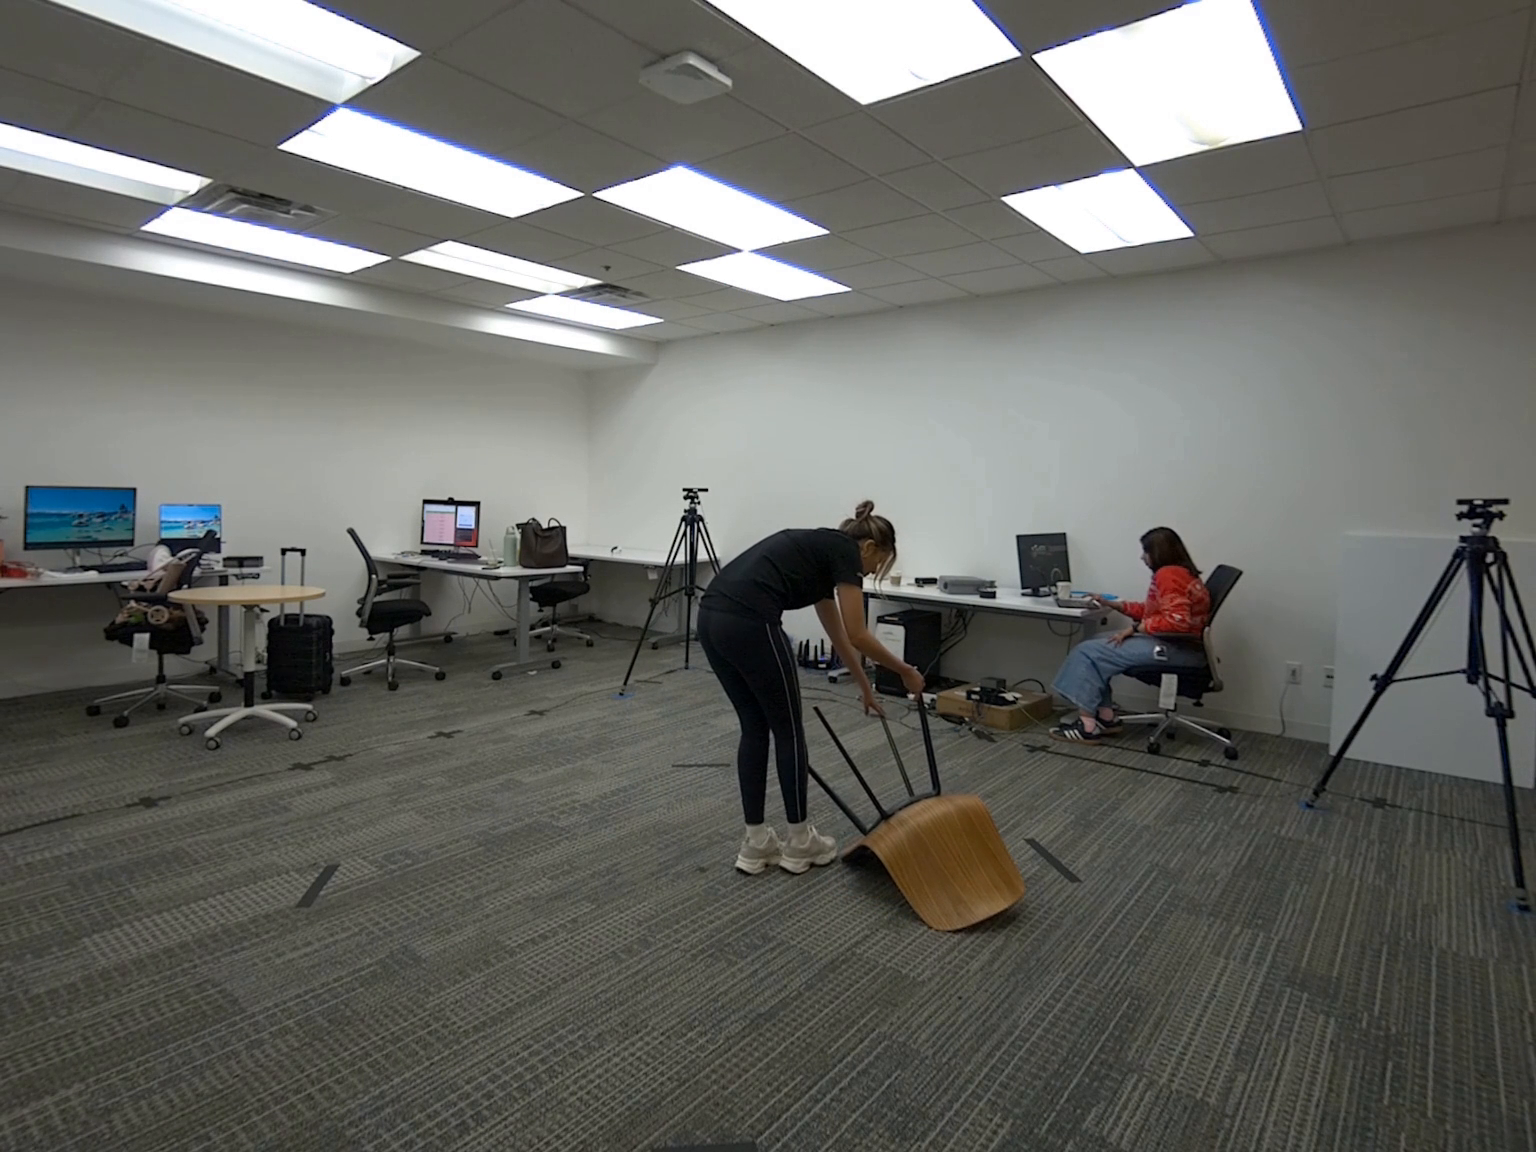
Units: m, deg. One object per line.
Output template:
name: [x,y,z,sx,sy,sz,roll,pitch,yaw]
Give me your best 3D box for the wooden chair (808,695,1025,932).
wooden chair: [0.487,0.873,3.141,0.471,0.908,0.513,-16,-31,-21]
